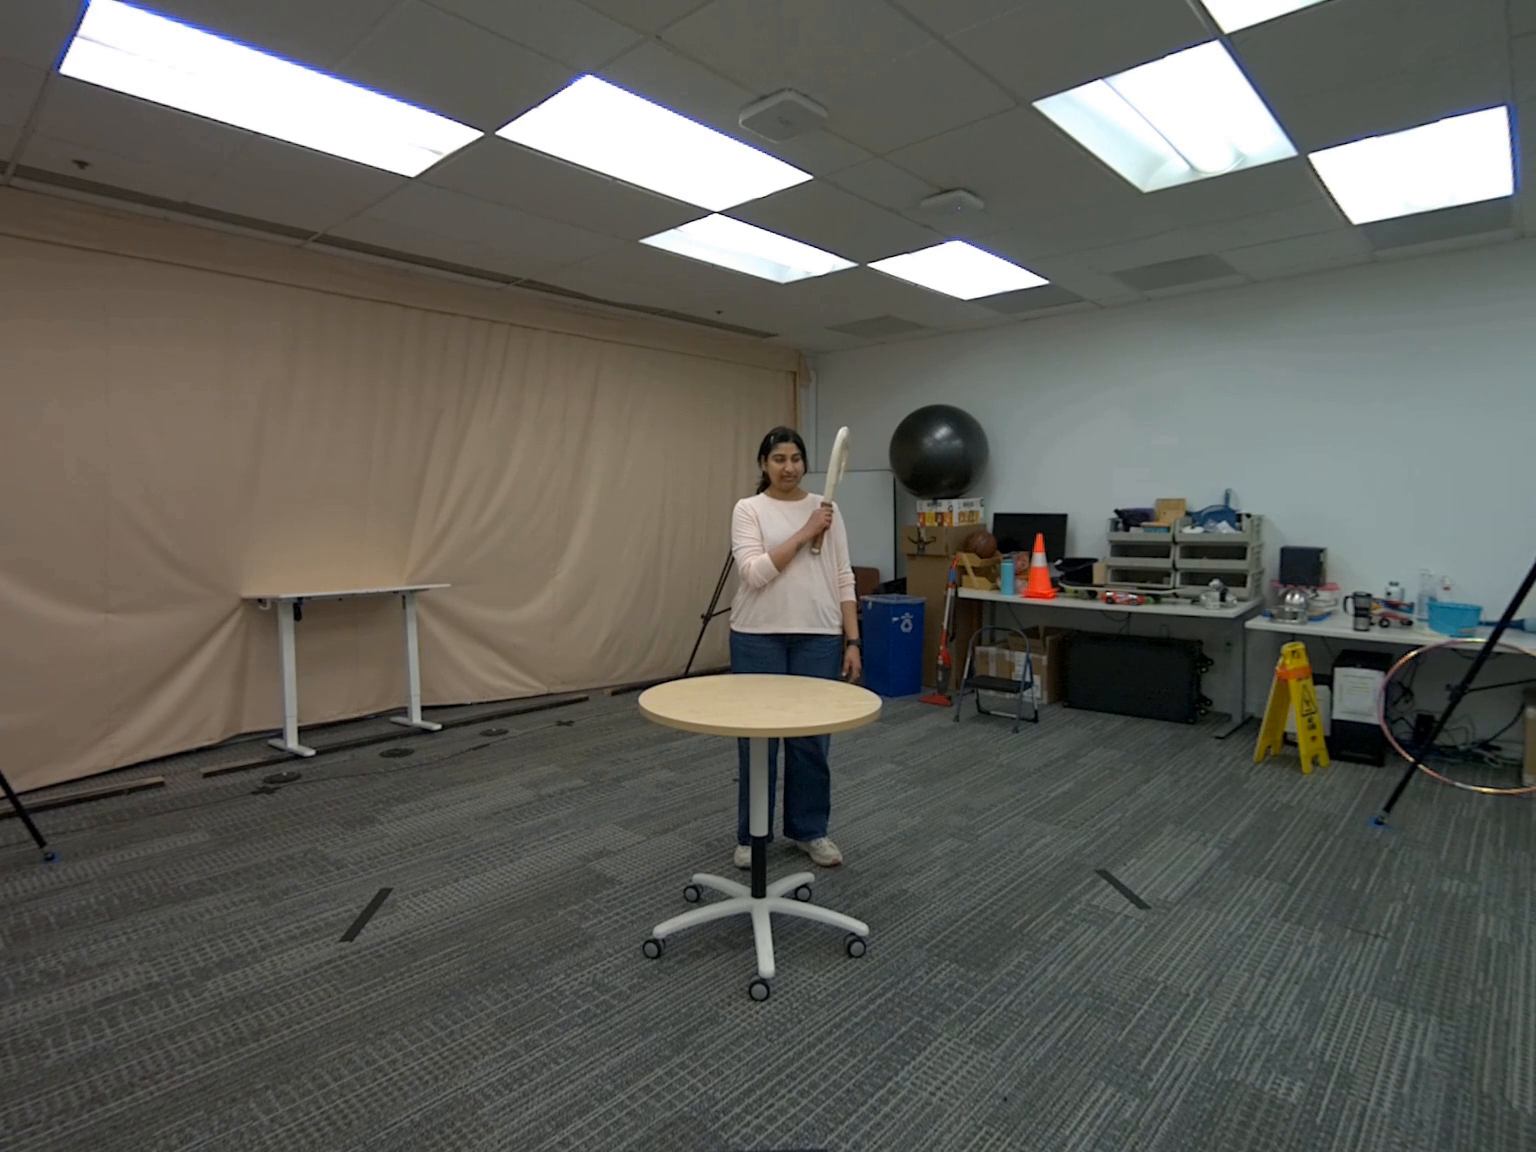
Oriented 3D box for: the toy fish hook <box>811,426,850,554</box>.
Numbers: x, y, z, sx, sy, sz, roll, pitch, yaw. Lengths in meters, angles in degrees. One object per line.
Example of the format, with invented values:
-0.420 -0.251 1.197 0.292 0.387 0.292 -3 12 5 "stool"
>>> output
0.253 -0.315 3.254 0.049 0.507 0.219 12 -4 20 "toy fish hook"
